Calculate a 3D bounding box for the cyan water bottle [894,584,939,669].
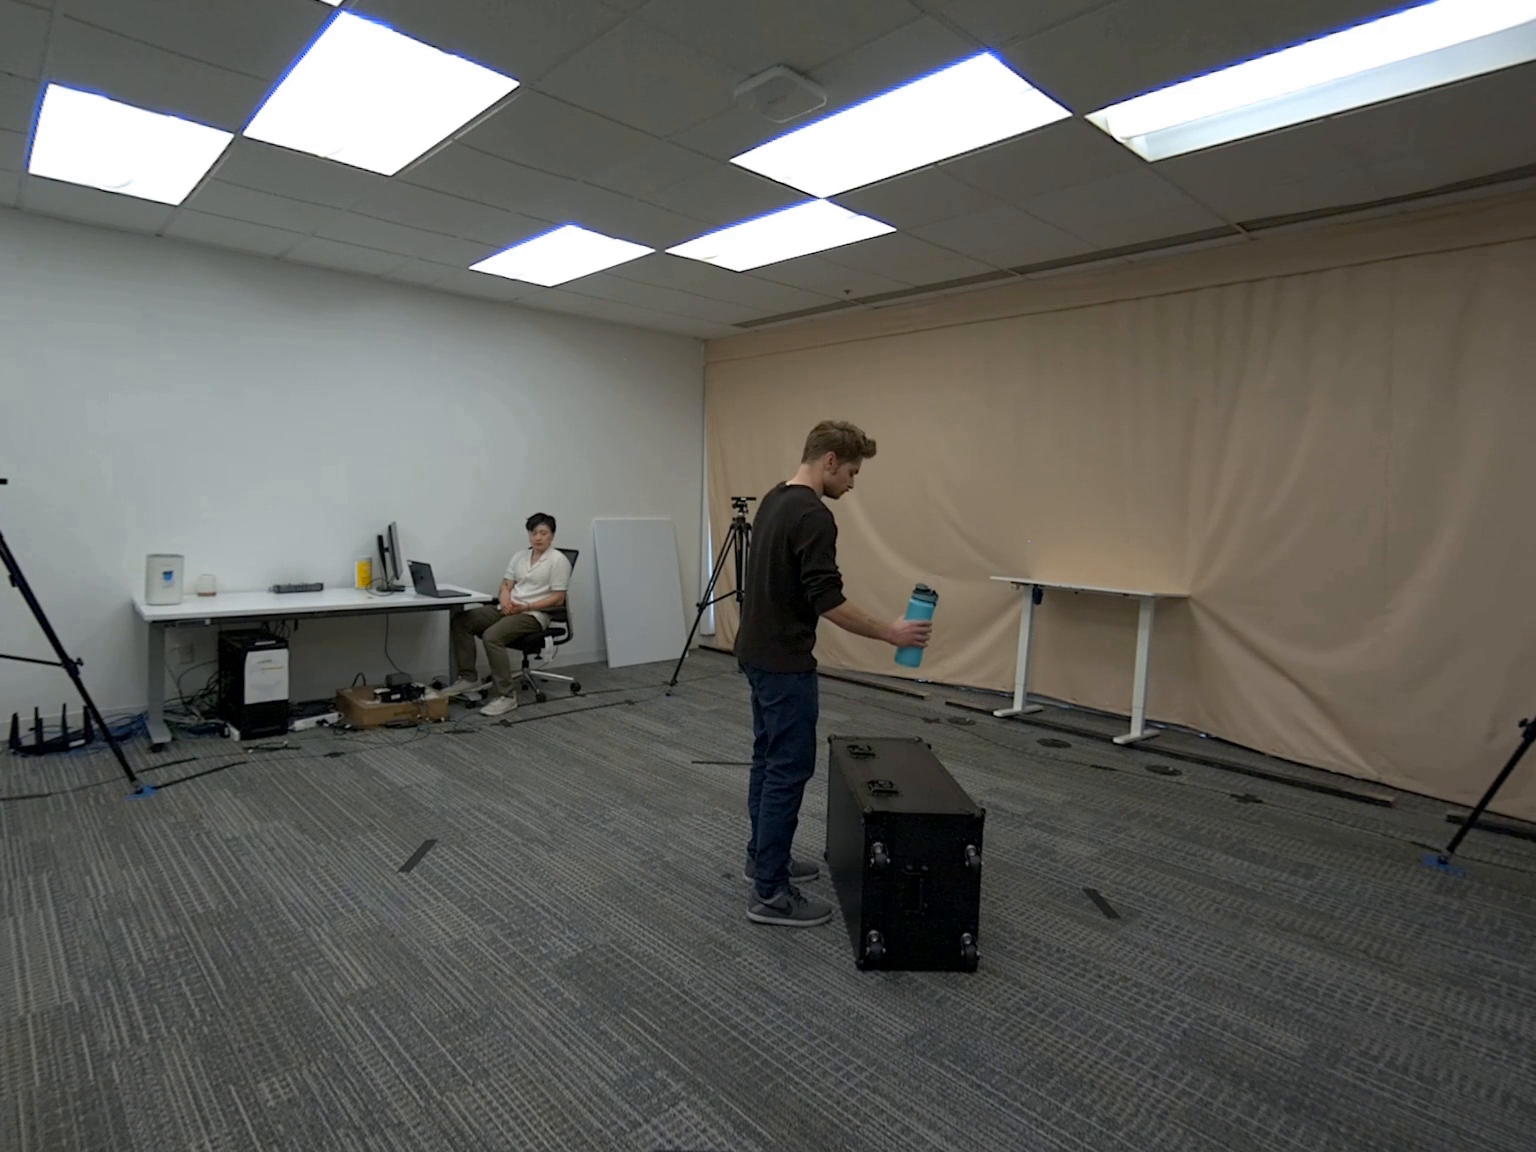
[{"bbox_3d":[0.502,0.171,2.879,0.092,0.282,0.093,15,6,-3],"label":"cyan water bottle"}]
